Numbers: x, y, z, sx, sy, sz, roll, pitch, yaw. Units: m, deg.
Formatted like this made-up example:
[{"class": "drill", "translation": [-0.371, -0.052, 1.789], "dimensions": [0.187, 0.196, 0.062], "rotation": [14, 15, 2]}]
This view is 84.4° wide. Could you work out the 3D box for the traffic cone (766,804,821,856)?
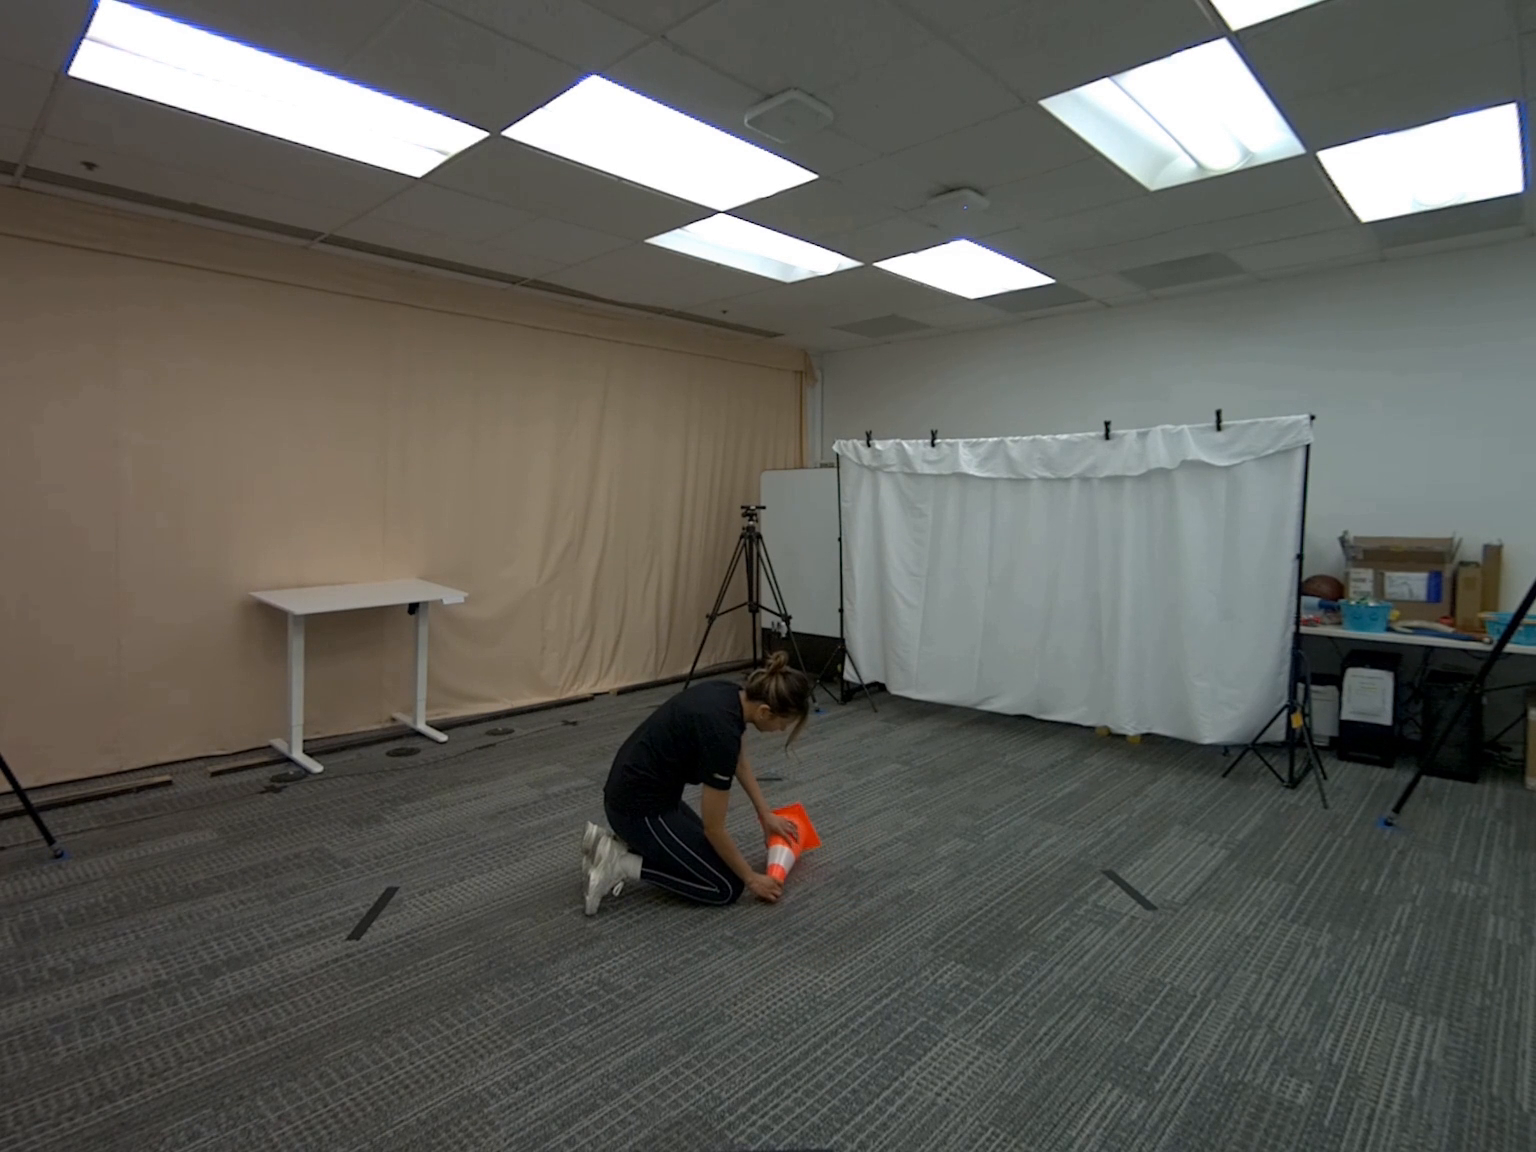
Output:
[{"class": "traffic cone", "translation": [0.031, 1.050, 3.121], "dimensions": [0.206, 0.203, 0.381], "rotation": [-22, 9, 21]}]
